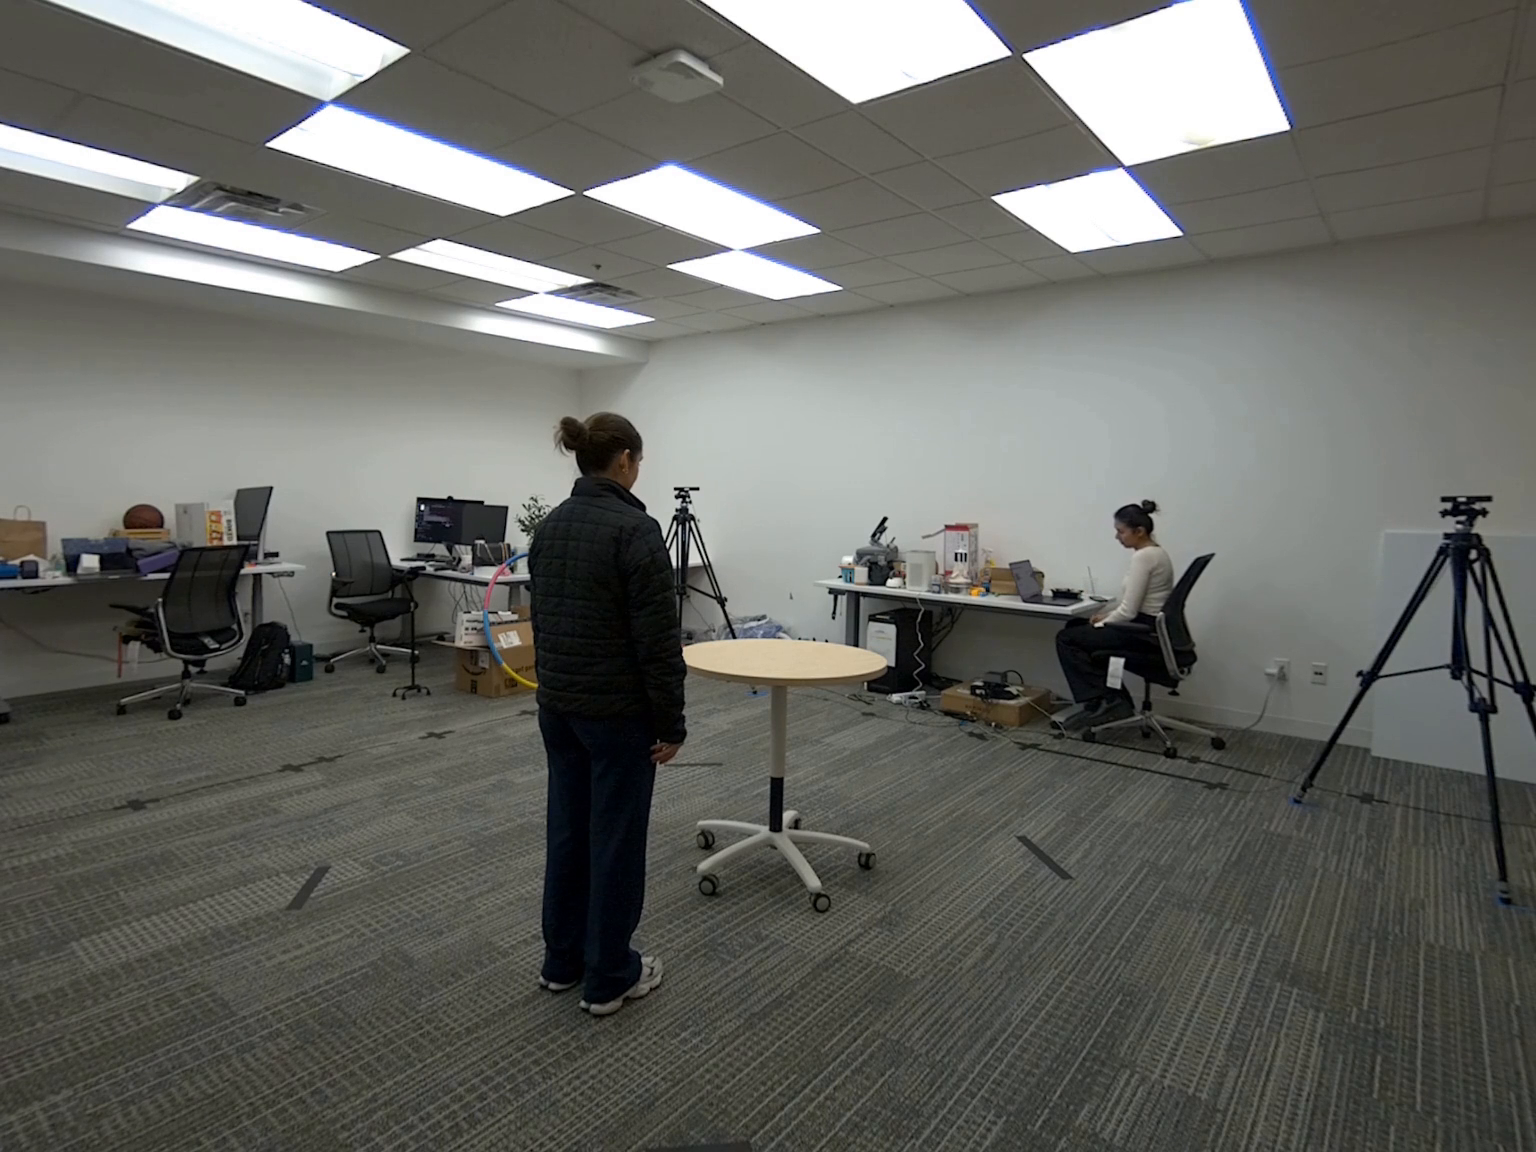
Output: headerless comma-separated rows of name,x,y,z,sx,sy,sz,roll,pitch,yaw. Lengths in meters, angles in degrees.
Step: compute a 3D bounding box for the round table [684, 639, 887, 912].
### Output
round table,0.052,0.677,3.106,0.784,0.784,0.788,1,3,-2
